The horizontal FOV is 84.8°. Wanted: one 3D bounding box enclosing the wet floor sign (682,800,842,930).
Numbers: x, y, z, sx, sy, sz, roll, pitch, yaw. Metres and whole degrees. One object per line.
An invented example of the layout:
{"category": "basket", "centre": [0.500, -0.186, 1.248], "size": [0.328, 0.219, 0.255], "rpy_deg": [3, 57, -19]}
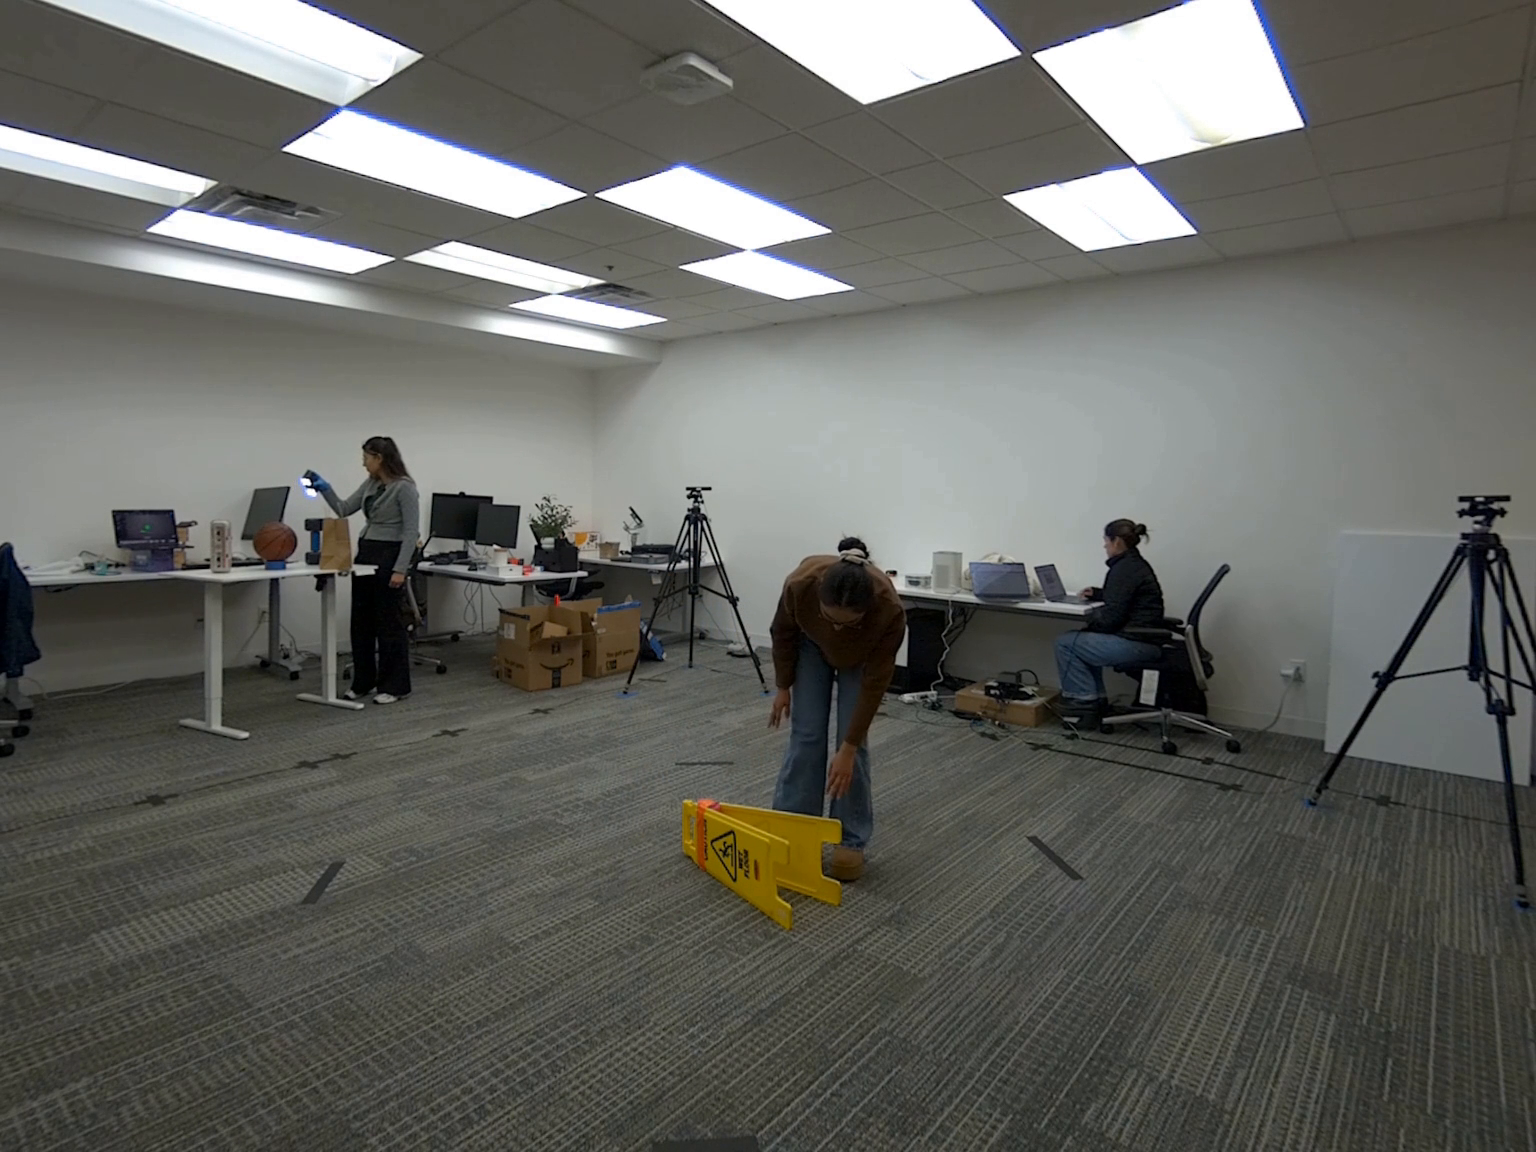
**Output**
{"category": "wet floor sign", "centre": [-0.091, 0.953, 2.989], "size": [0.667, 0.282, 0.281], "rpy_deg": [3, 4, 44]}
